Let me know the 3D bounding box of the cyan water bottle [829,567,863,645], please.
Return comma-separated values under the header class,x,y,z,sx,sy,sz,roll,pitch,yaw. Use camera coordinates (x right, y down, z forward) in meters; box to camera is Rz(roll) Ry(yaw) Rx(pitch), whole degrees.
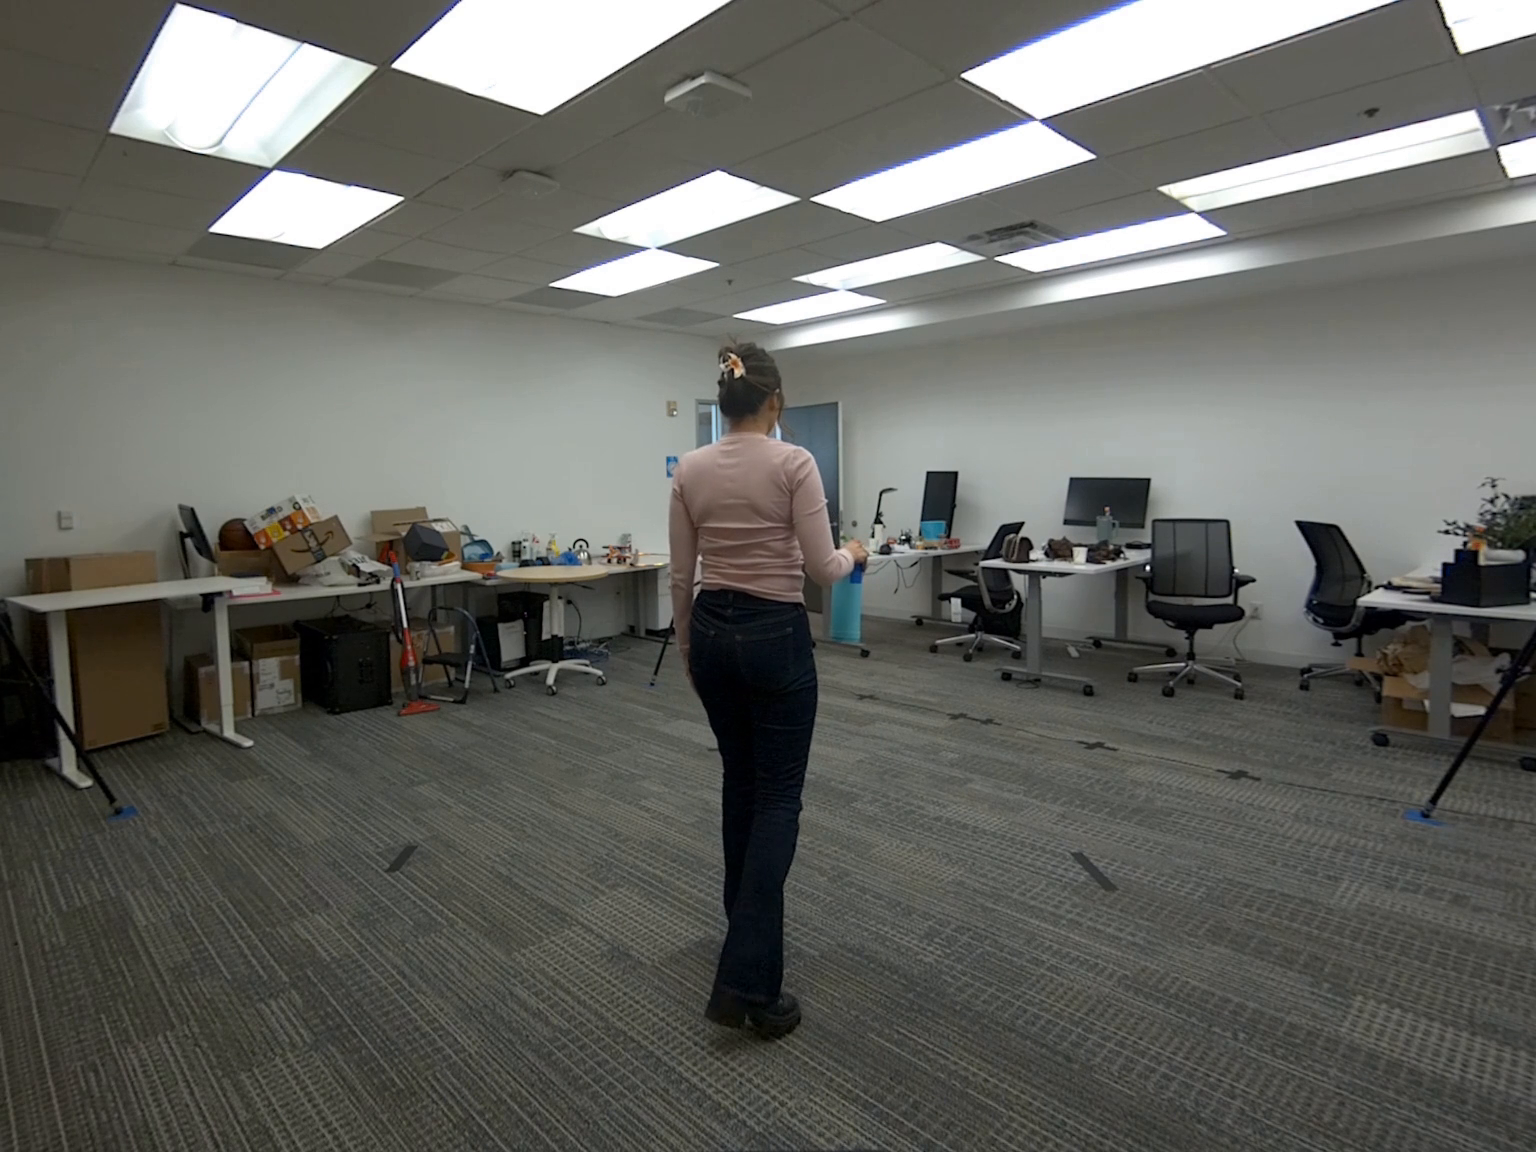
class,x,y,z,sx,sy,sz,roll,pitch,yaw
cyan water bottle,0.246,0.056,2.572,0.092,0.284,0.092,2,-2,-2
